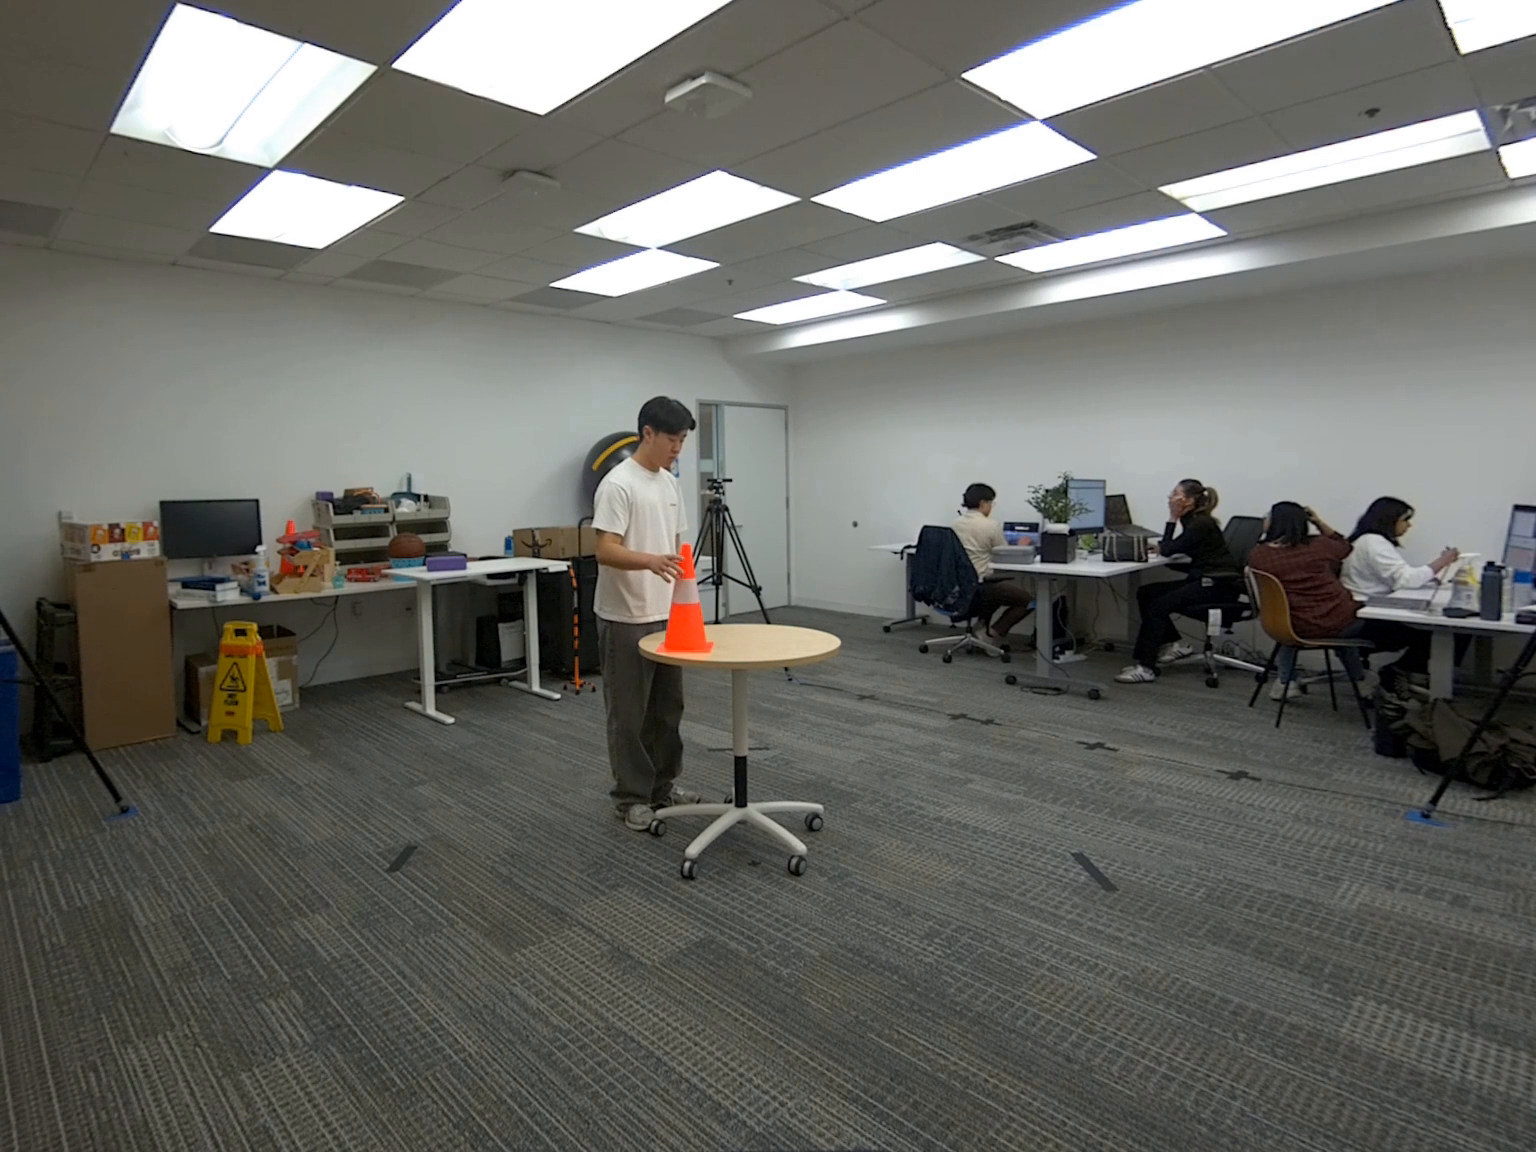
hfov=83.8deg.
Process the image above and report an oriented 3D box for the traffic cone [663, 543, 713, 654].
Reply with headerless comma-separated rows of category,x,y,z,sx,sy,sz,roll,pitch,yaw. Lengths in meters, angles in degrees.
traffic cone,-0.304,0.075,3.119,0.205,0.382,0.204,-1,5,6
